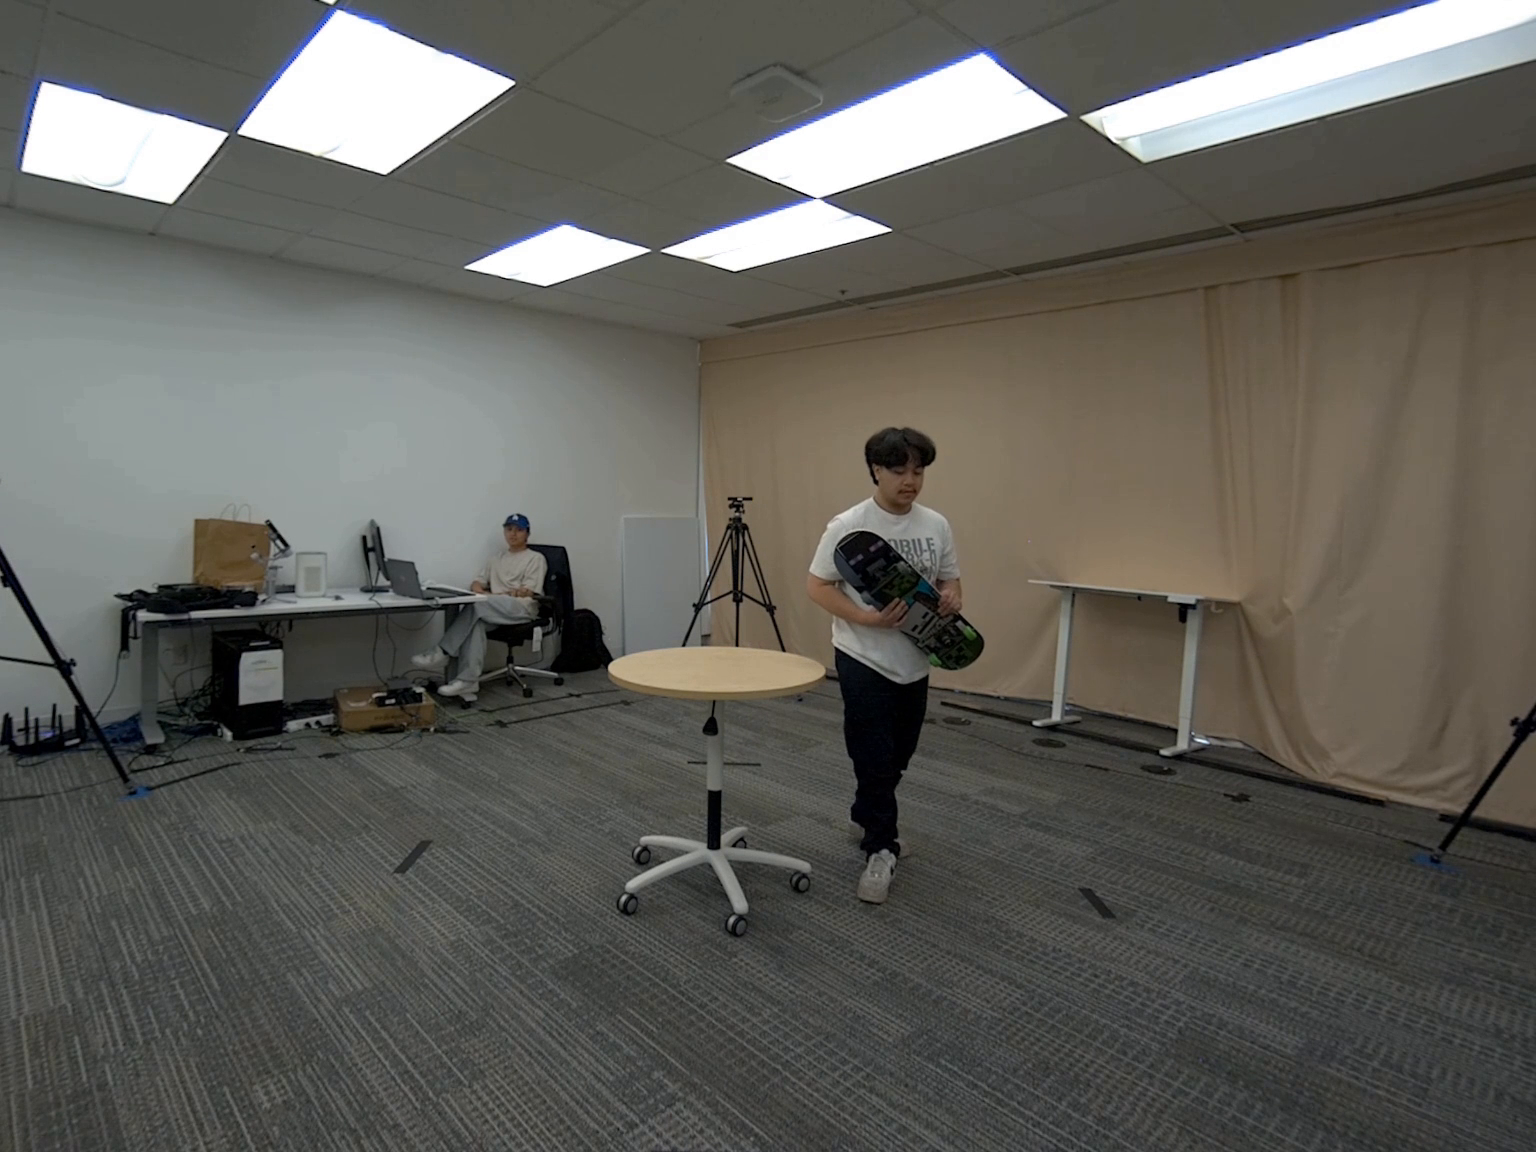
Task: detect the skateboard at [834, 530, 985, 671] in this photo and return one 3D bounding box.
[{"bbox_3d":[0.488,0.123,2.871,0.764,0.194,0.113,40,17,-29],"label":"skateboard"}]
